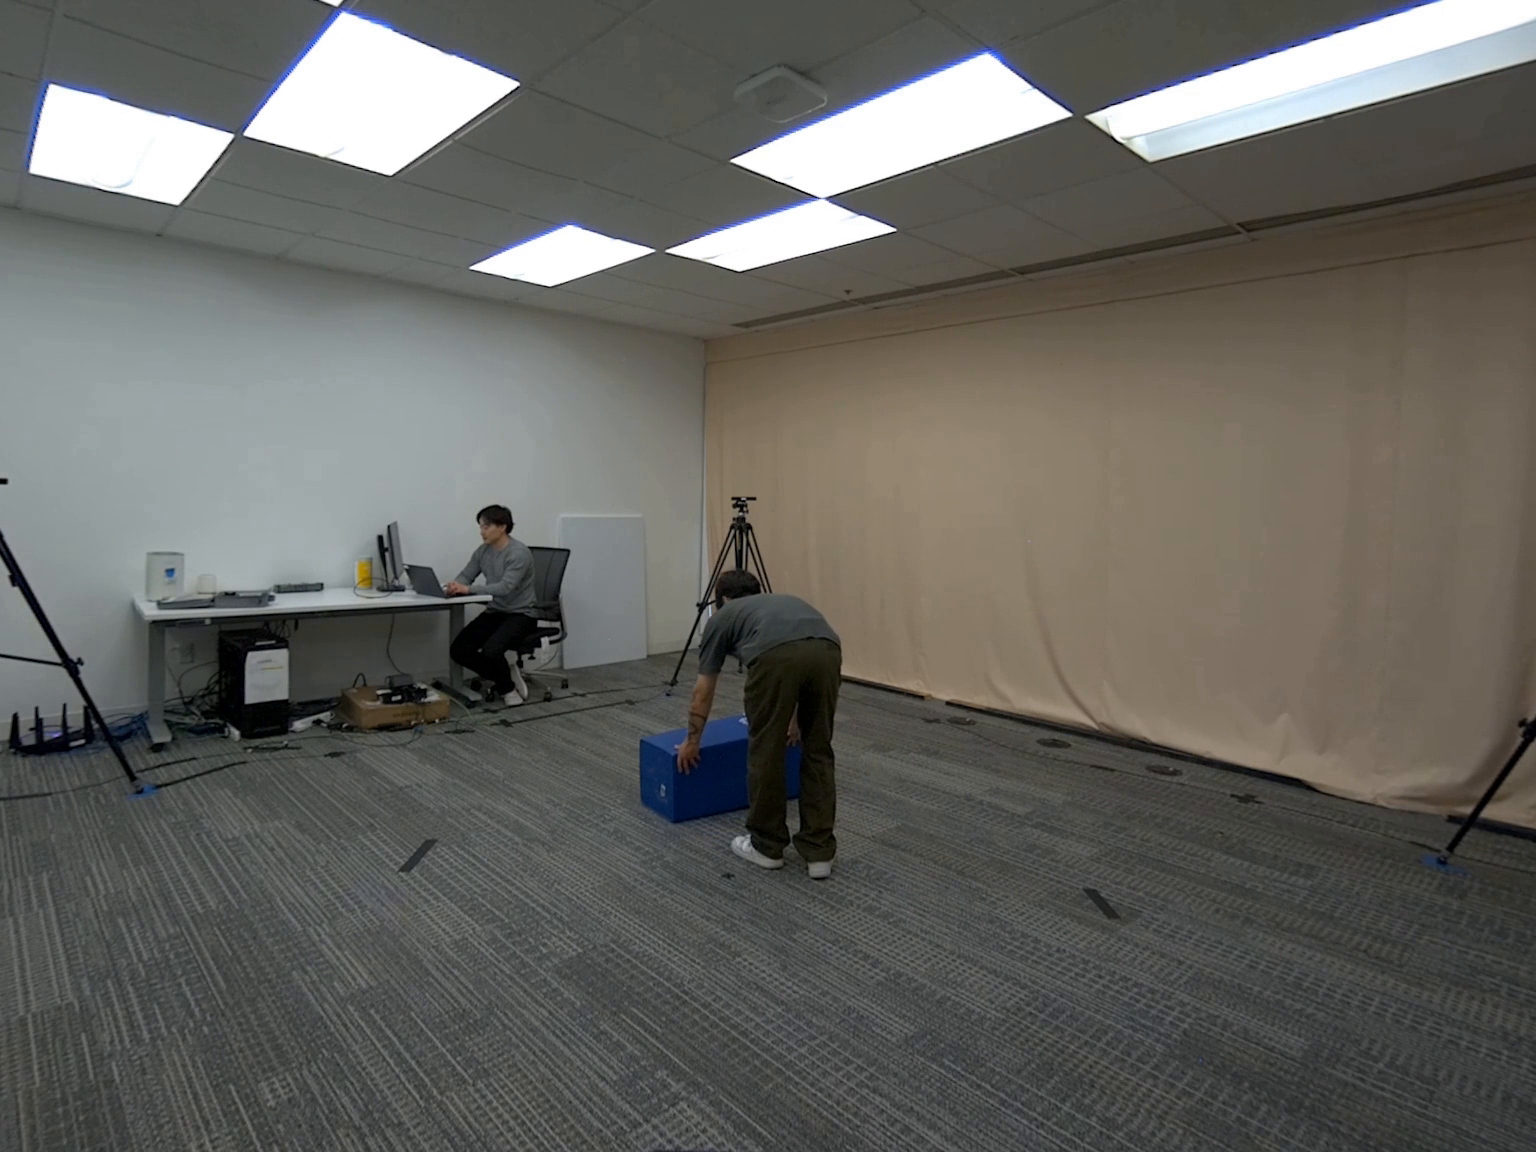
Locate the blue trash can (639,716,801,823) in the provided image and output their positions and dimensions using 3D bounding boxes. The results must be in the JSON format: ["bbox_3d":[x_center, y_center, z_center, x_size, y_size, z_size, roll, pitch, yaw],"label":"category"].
[{"bbox_3d":[-0.213,0.864,3.892,0.698,0.373,0.387,-3,6,-35],"label":"blue trash can"}]
